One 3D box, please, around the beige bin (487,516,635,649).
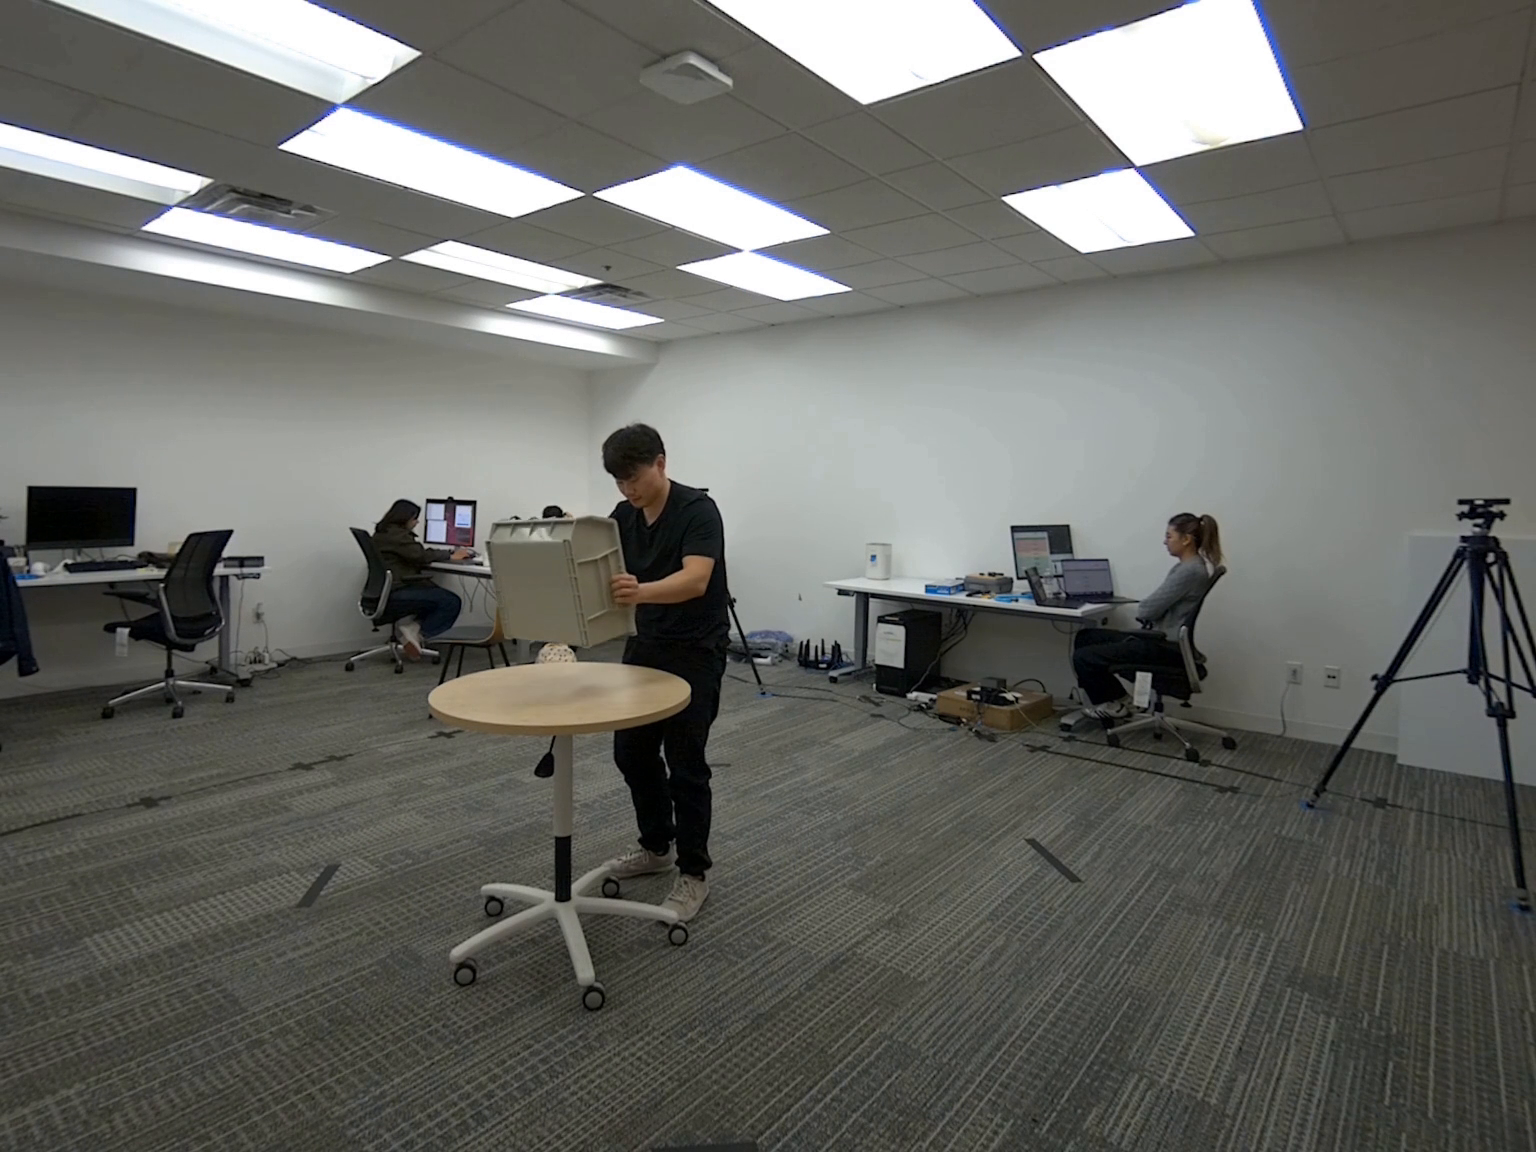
[{"bbox_3d":[-0.626,-0.003,2.562,0.435,0.374,0.185,0,12,39],"label":"beige bin"}]
